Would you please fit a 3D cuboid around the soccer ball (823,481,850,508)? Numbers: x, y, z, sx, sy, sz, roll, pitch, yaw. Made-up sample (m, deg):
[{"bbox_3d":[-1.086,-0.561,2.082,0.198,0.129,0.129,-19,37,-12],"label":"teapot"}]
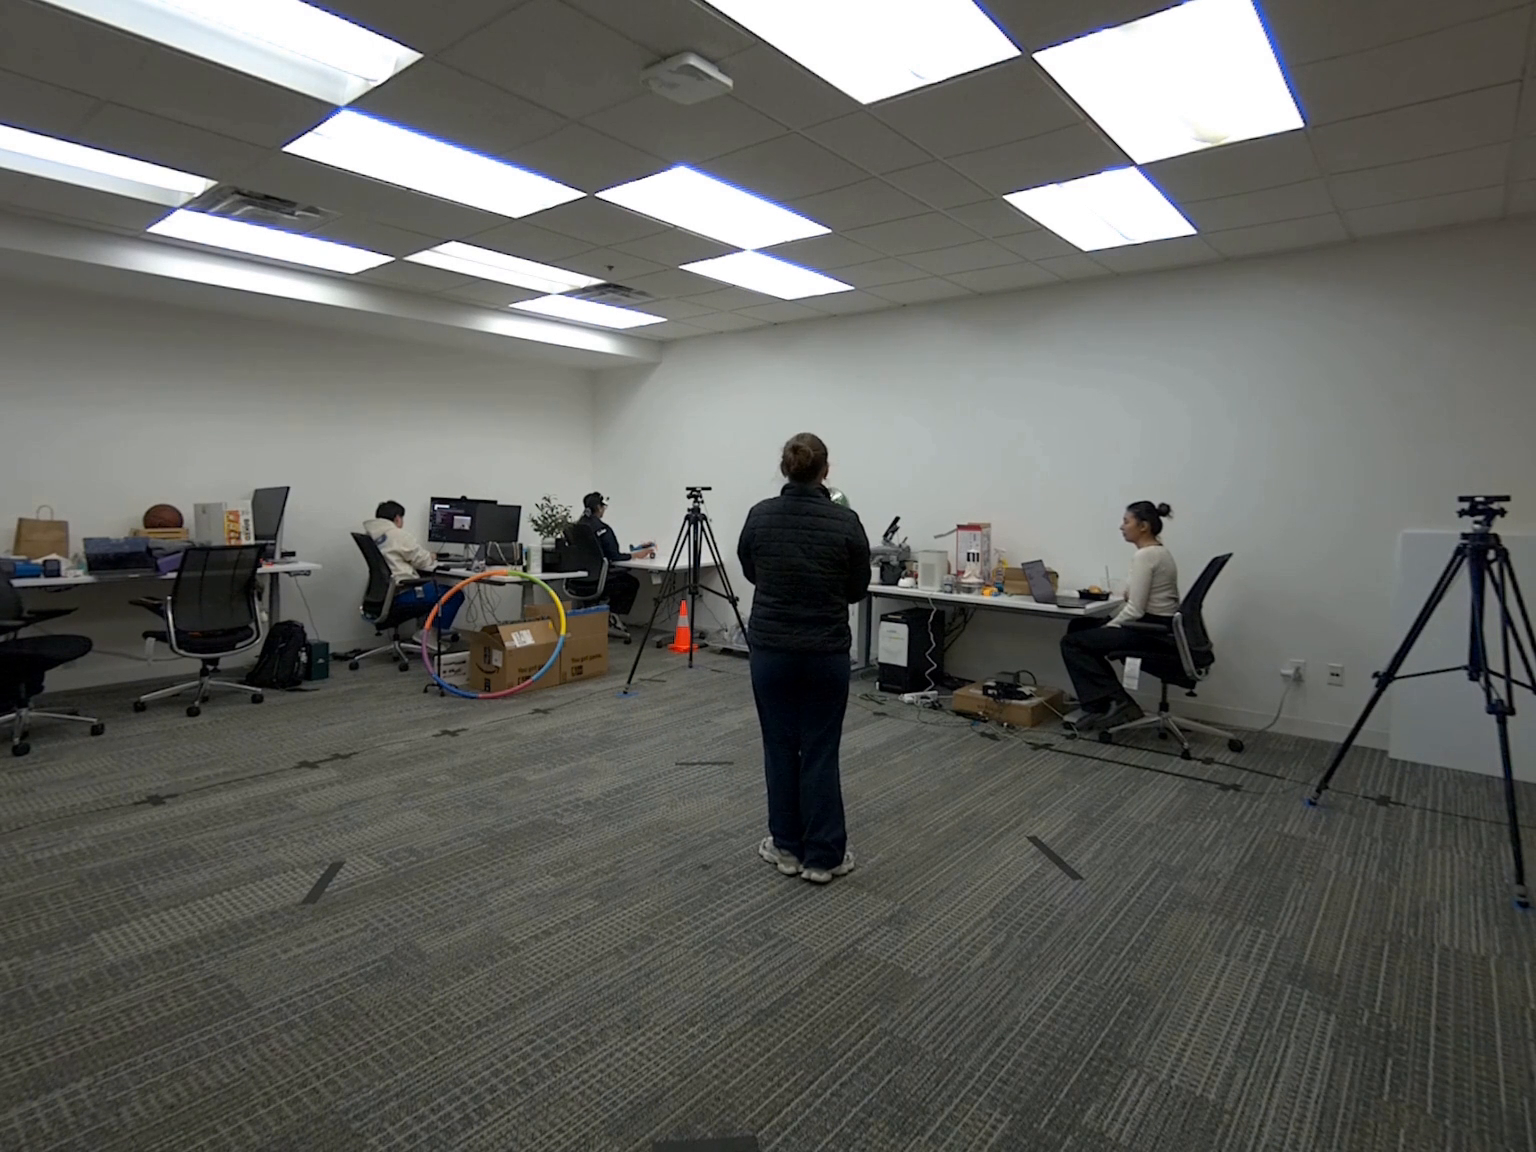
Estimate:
[{"bbox_3d":[0.223,-0.261,3.336,0.187,0.187,0.188,1,4,-2],"label":"soccer ball"}]
